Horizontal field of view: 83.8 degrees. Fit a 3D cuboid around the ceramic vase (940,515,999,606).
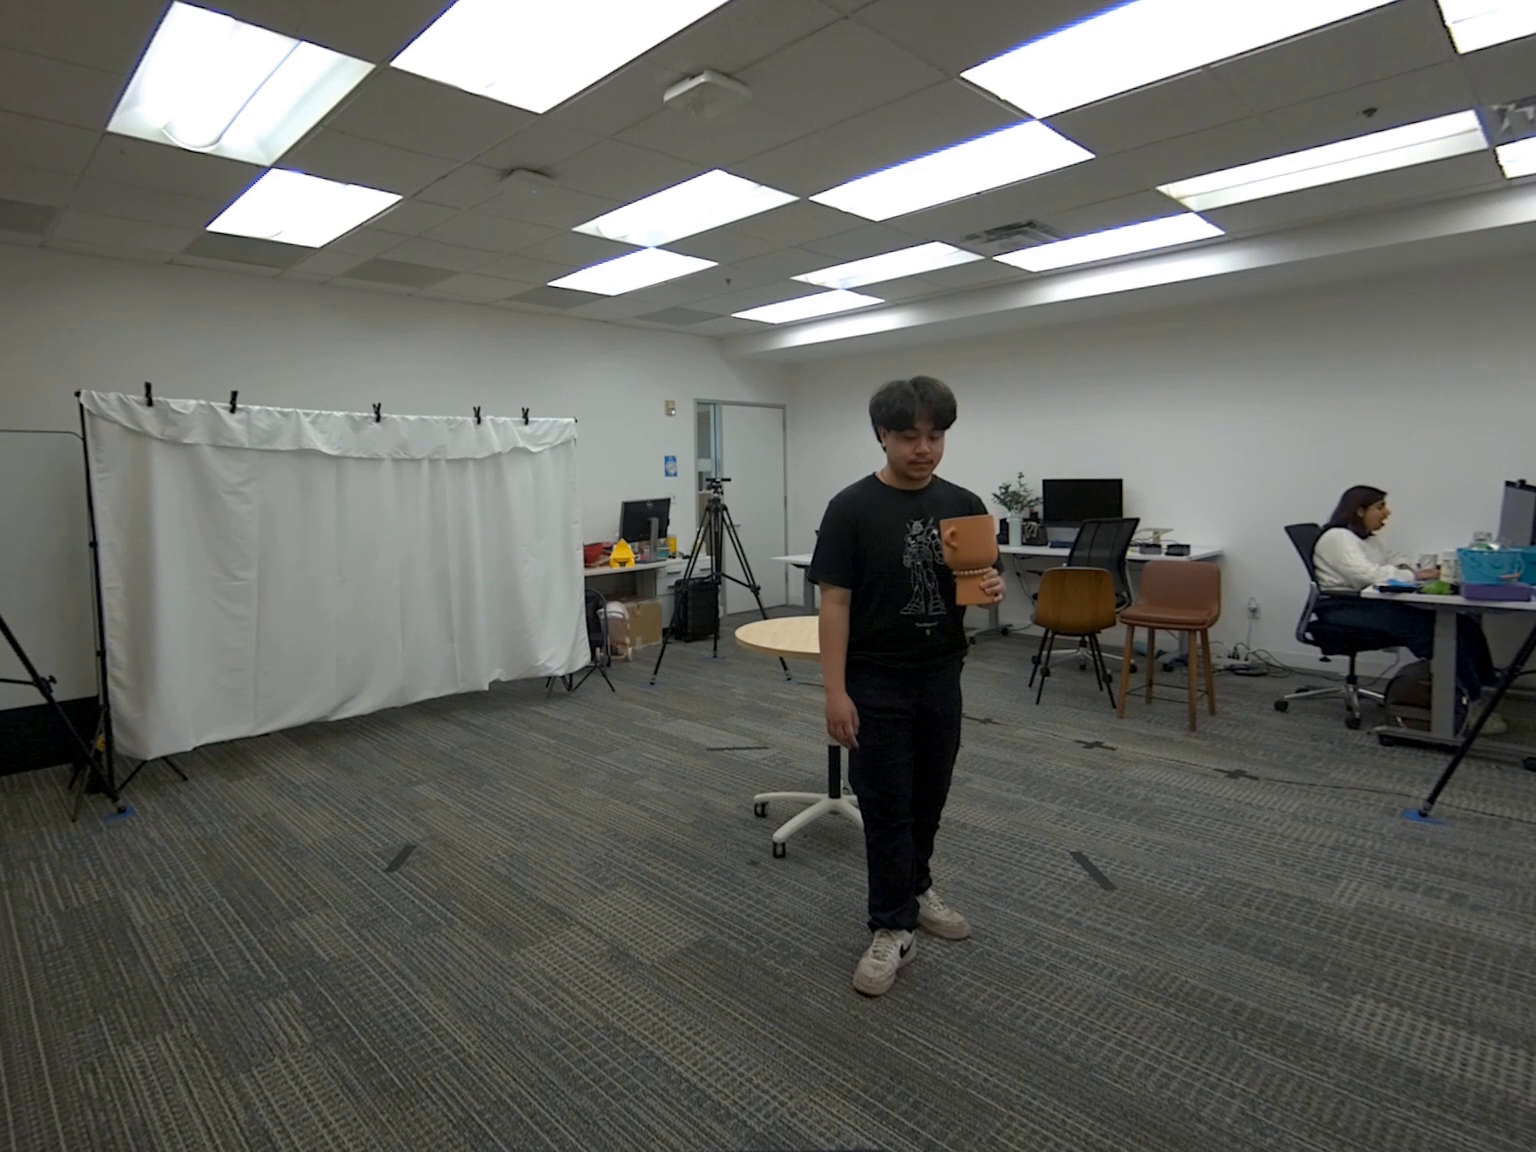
[{"bbox_3d":[0.508,-0.039,2.183,0.159,0.220,0.135,-6,1,-1],"label":"ceramic vase"}]
